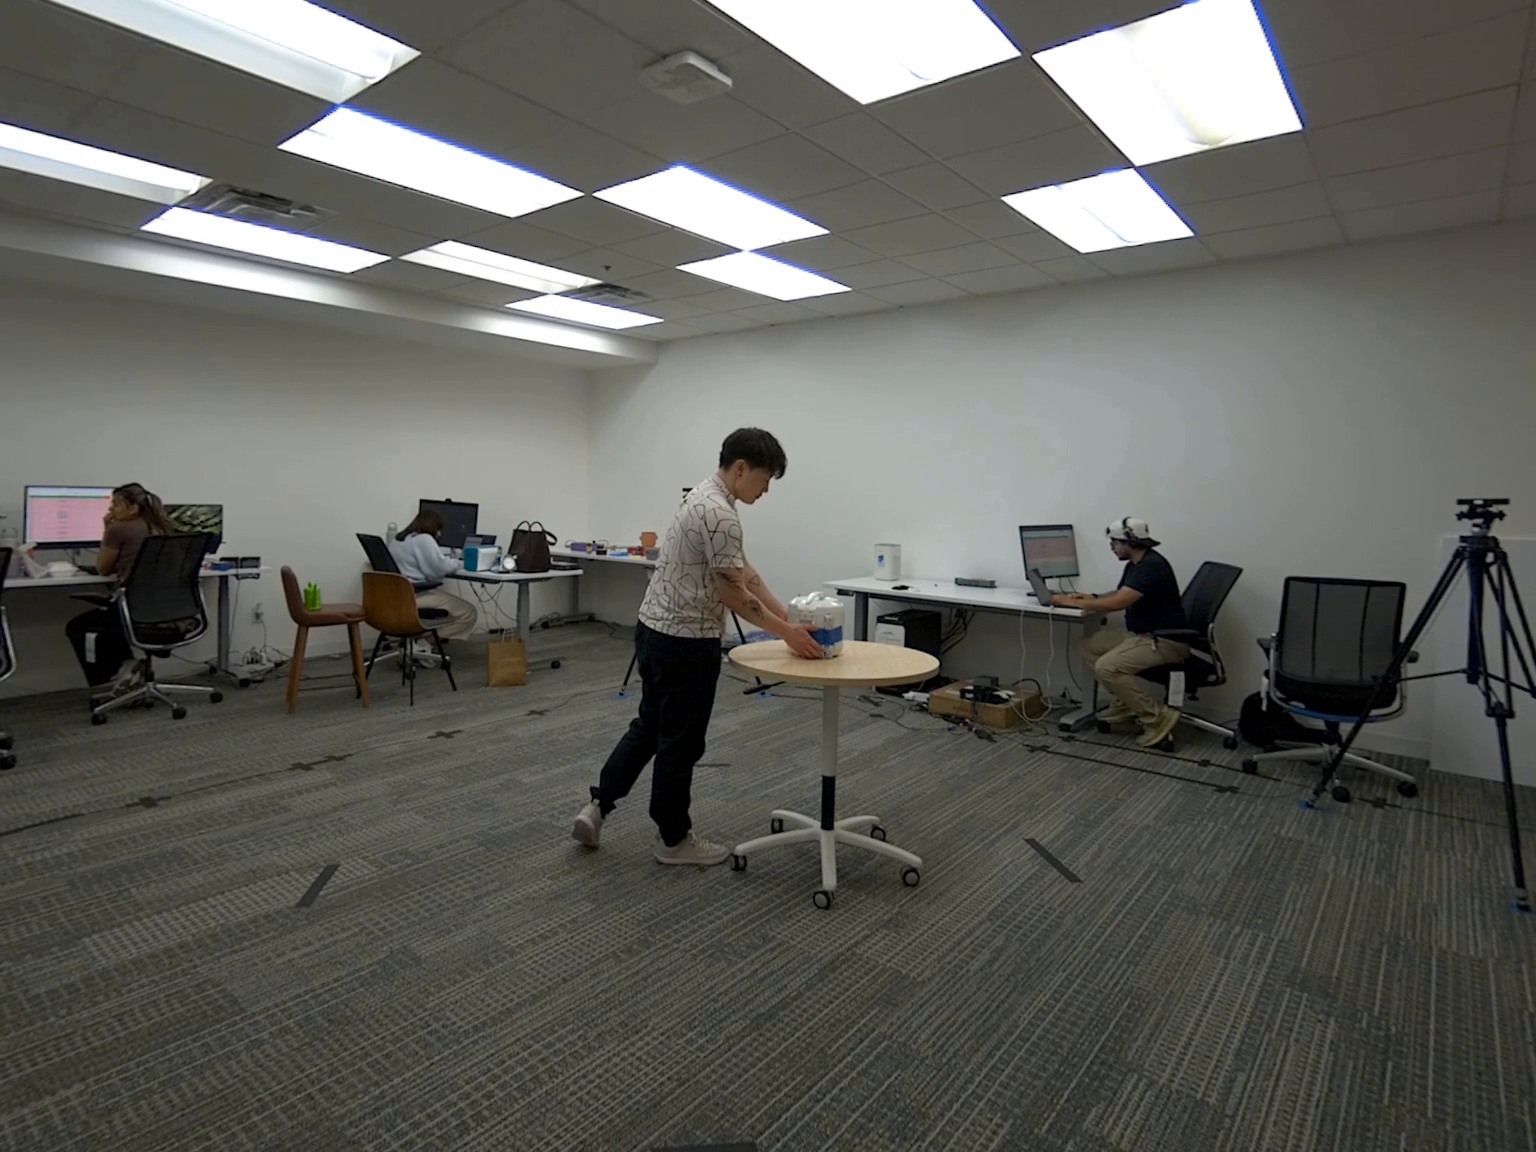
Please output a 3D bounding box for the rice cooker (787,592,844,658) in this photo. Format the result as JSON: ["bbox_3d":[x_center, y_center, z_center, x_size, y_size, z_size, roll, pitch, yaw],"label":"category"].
[{"bbox_3d":[0.168,0.176,3.166,0.223,0.232,0.216,4,4,24],"label":"rice cooker"}]
